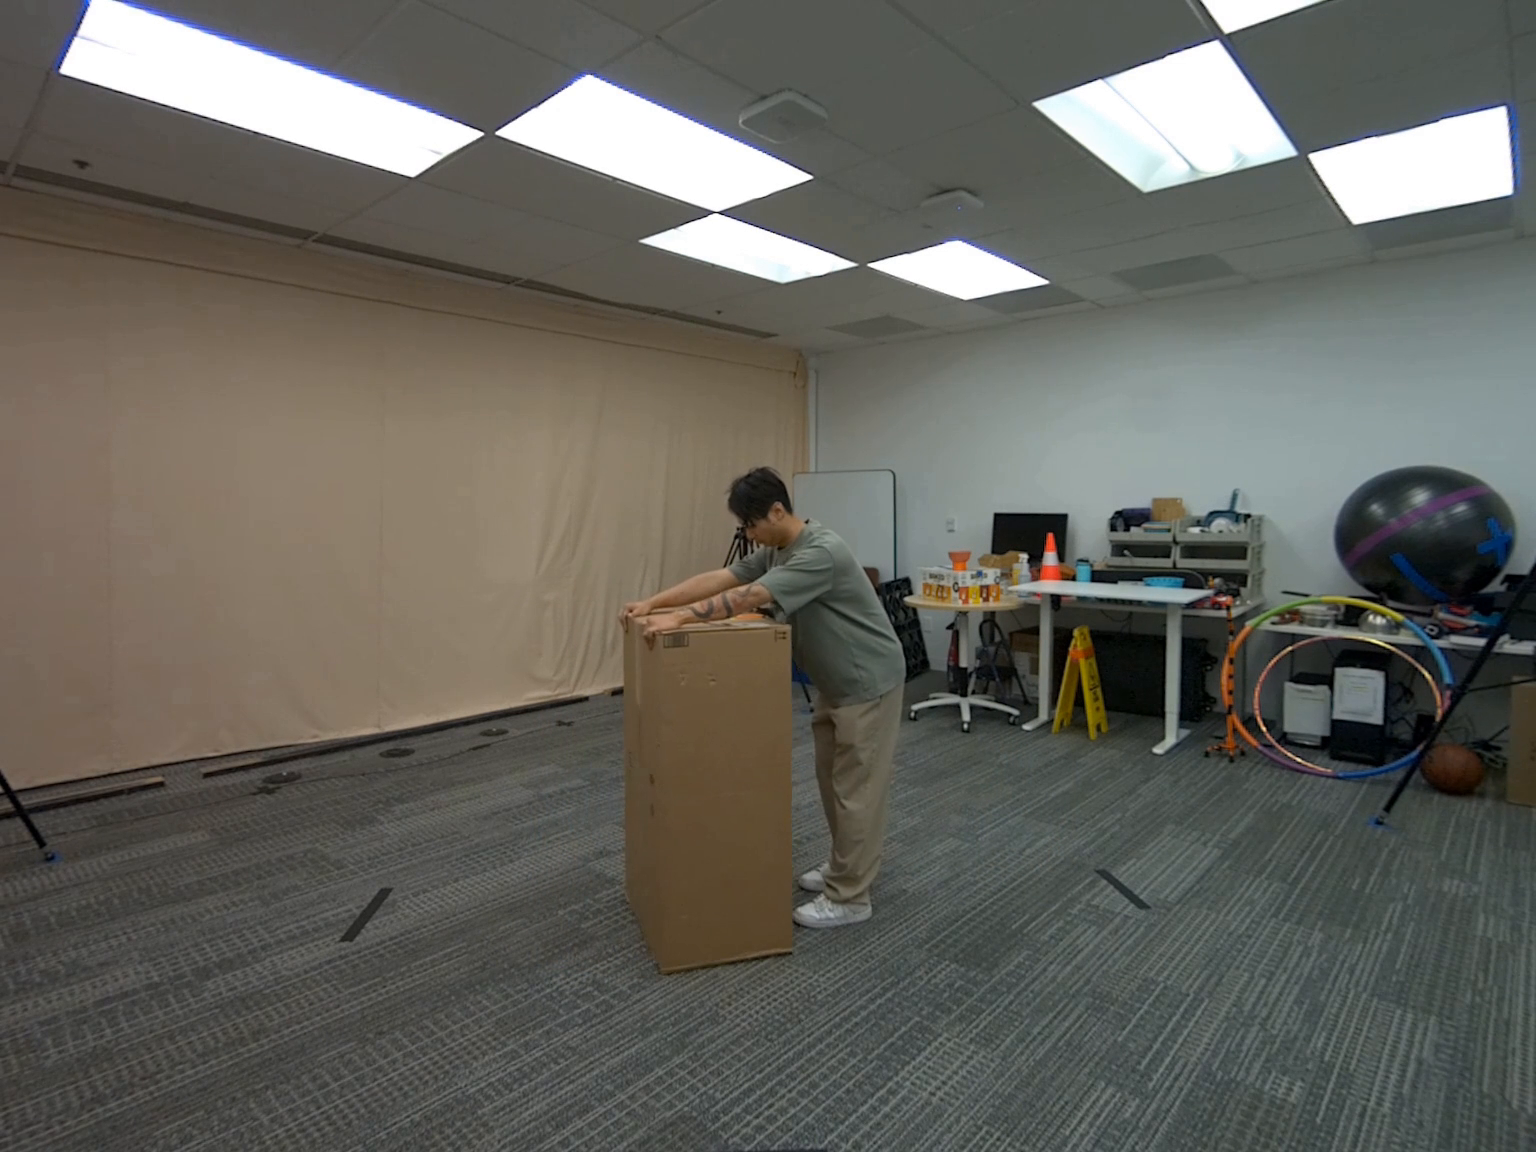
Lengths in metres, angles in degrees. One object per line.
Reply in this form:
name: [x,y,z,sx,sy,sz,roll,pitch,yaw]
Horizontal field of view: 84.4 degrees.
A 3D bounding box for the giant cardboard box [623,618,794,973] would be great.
giant cardboard box: [-0.217,0.649,2.807,0.418,1.024,0.589,-1,3,-20]
